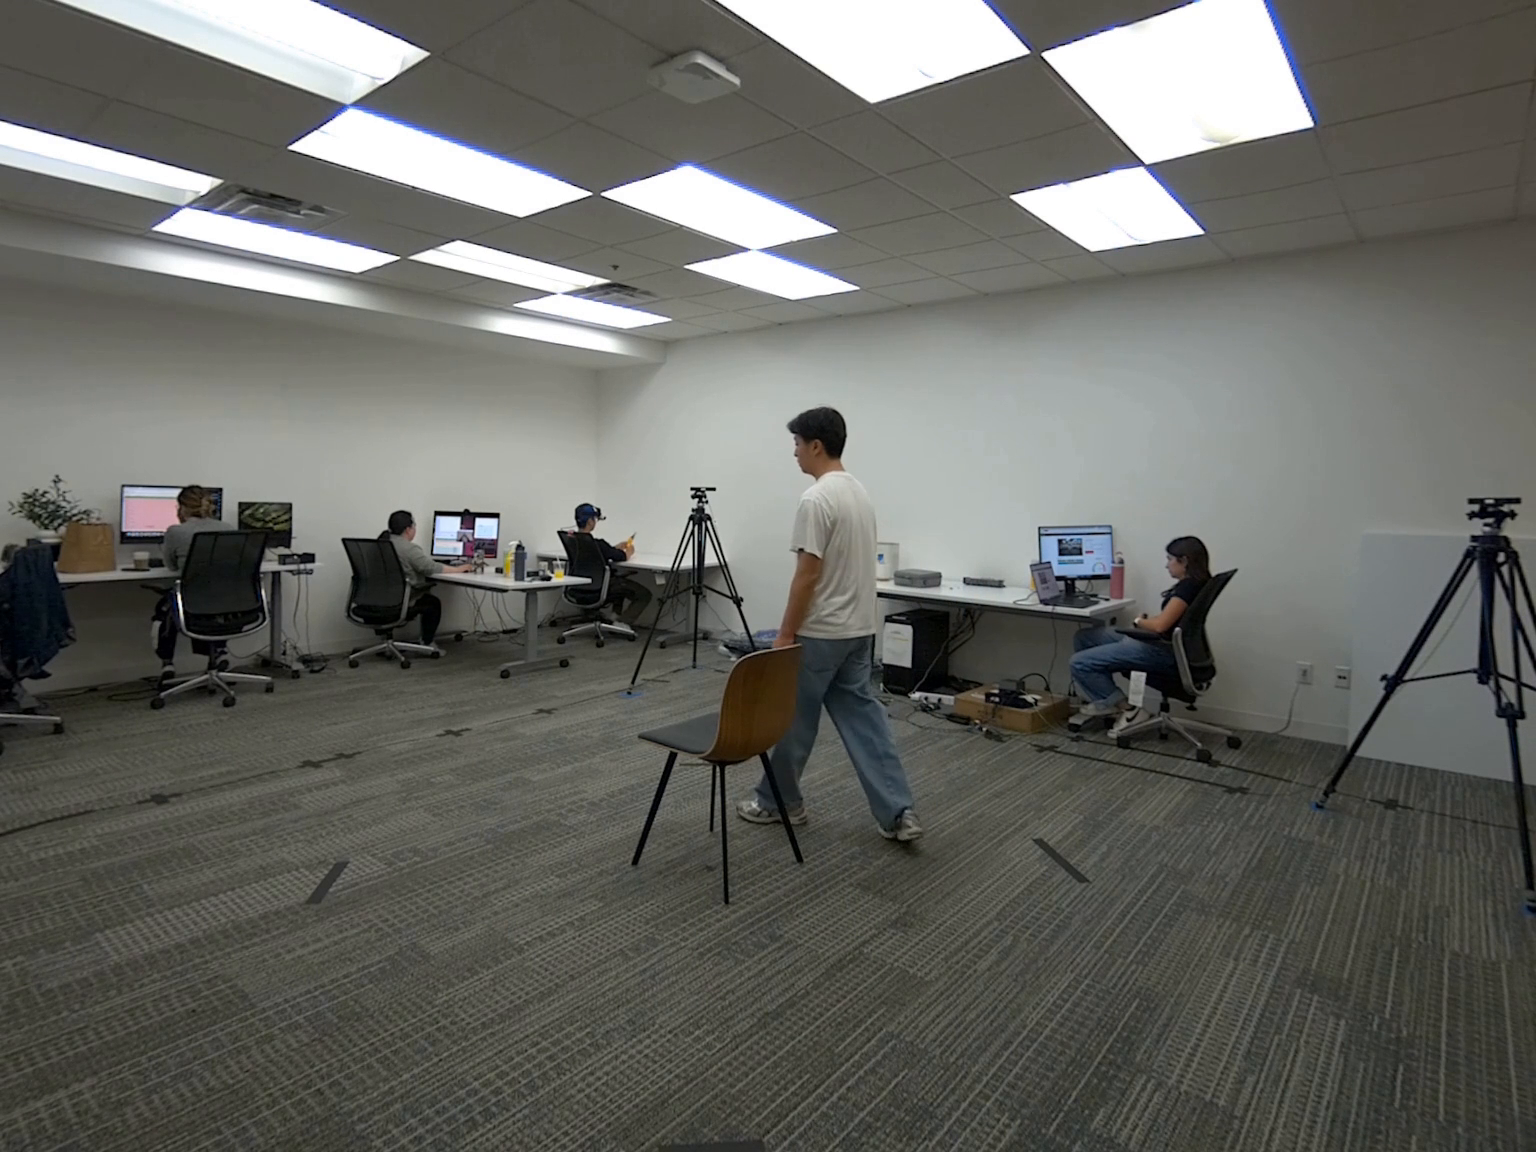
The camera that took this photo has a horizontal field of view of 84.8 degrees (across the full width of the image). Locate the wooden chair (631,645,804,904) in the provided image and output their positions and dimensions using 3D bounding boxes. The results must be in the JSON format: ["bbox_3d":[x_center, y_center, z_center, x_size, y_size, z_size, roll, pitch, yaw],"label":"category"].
[{"bbox_3d":[-0.194,0.638,3.125,0.542,0.873,0.464,9,7,38],"label":"wooden chair"}]
